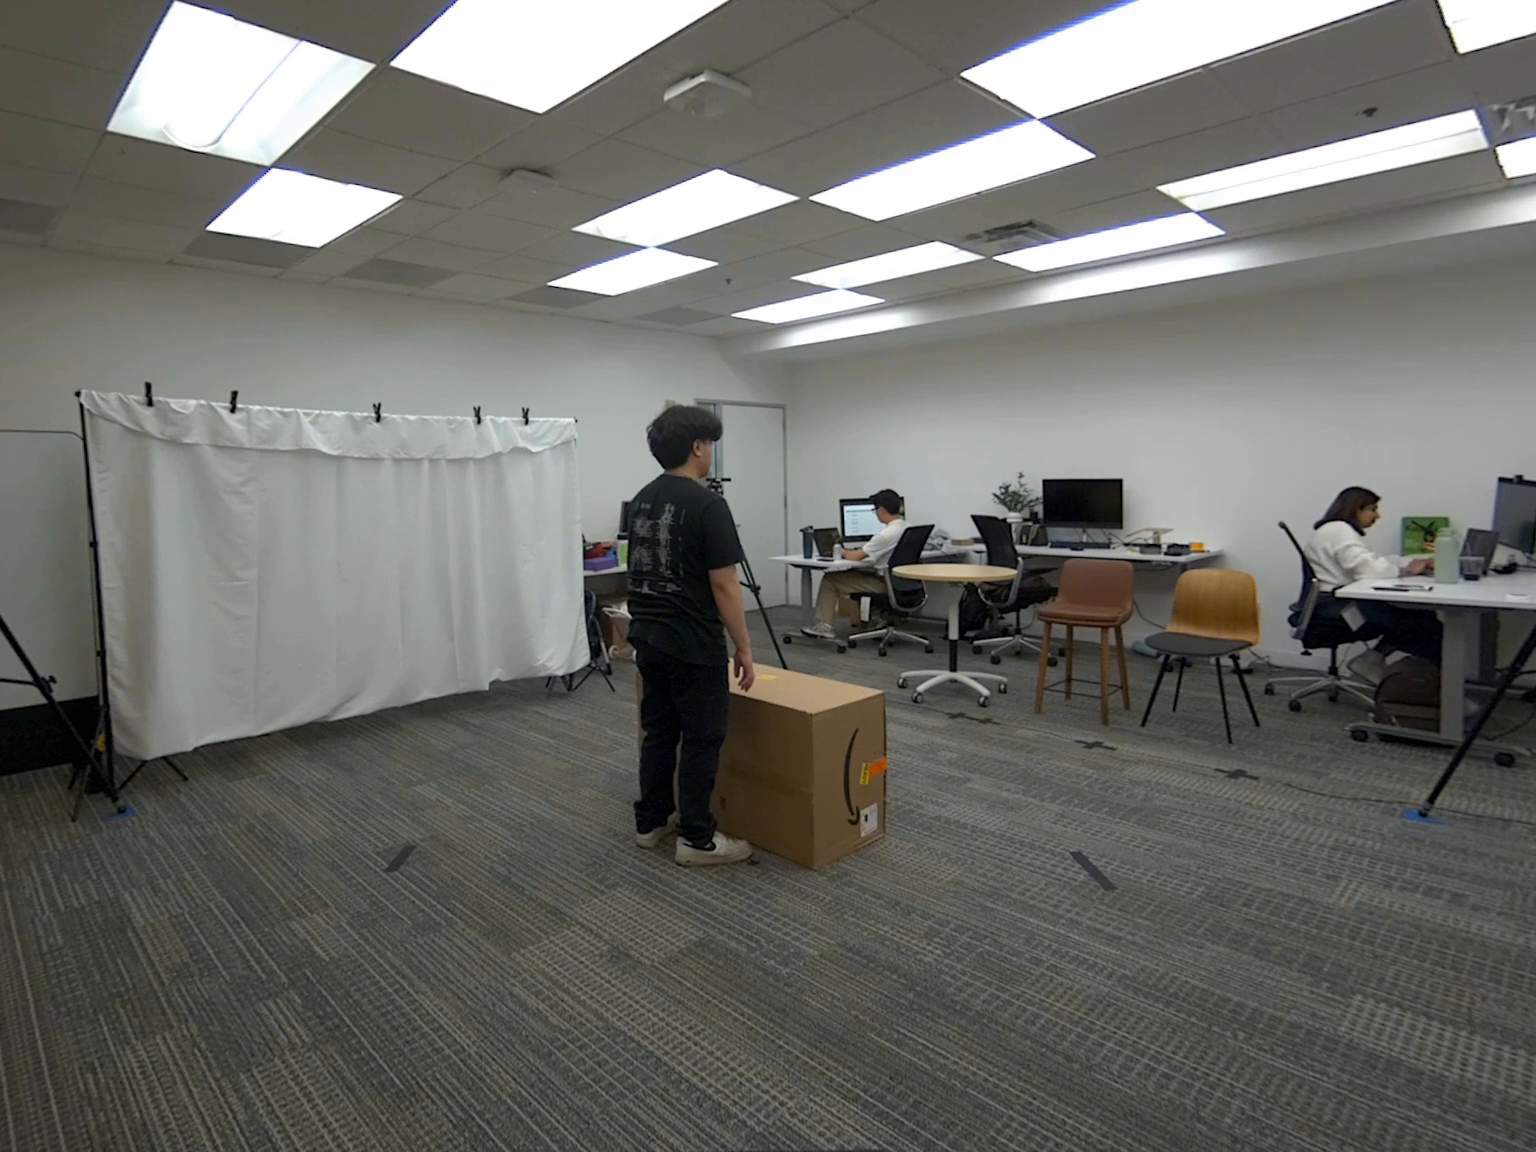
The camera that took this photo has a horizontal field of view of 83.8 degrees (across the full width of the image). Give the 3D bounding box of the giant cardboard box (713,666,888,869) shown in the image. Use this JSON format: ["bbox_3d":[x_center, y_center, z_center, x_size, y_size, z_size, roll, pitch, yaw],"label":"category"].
[{"bbox_3d":[-0.054,0.709,3.531,0.435,0.582,1.059,-4,7,-44],"label":"giant cardboard box"}]
